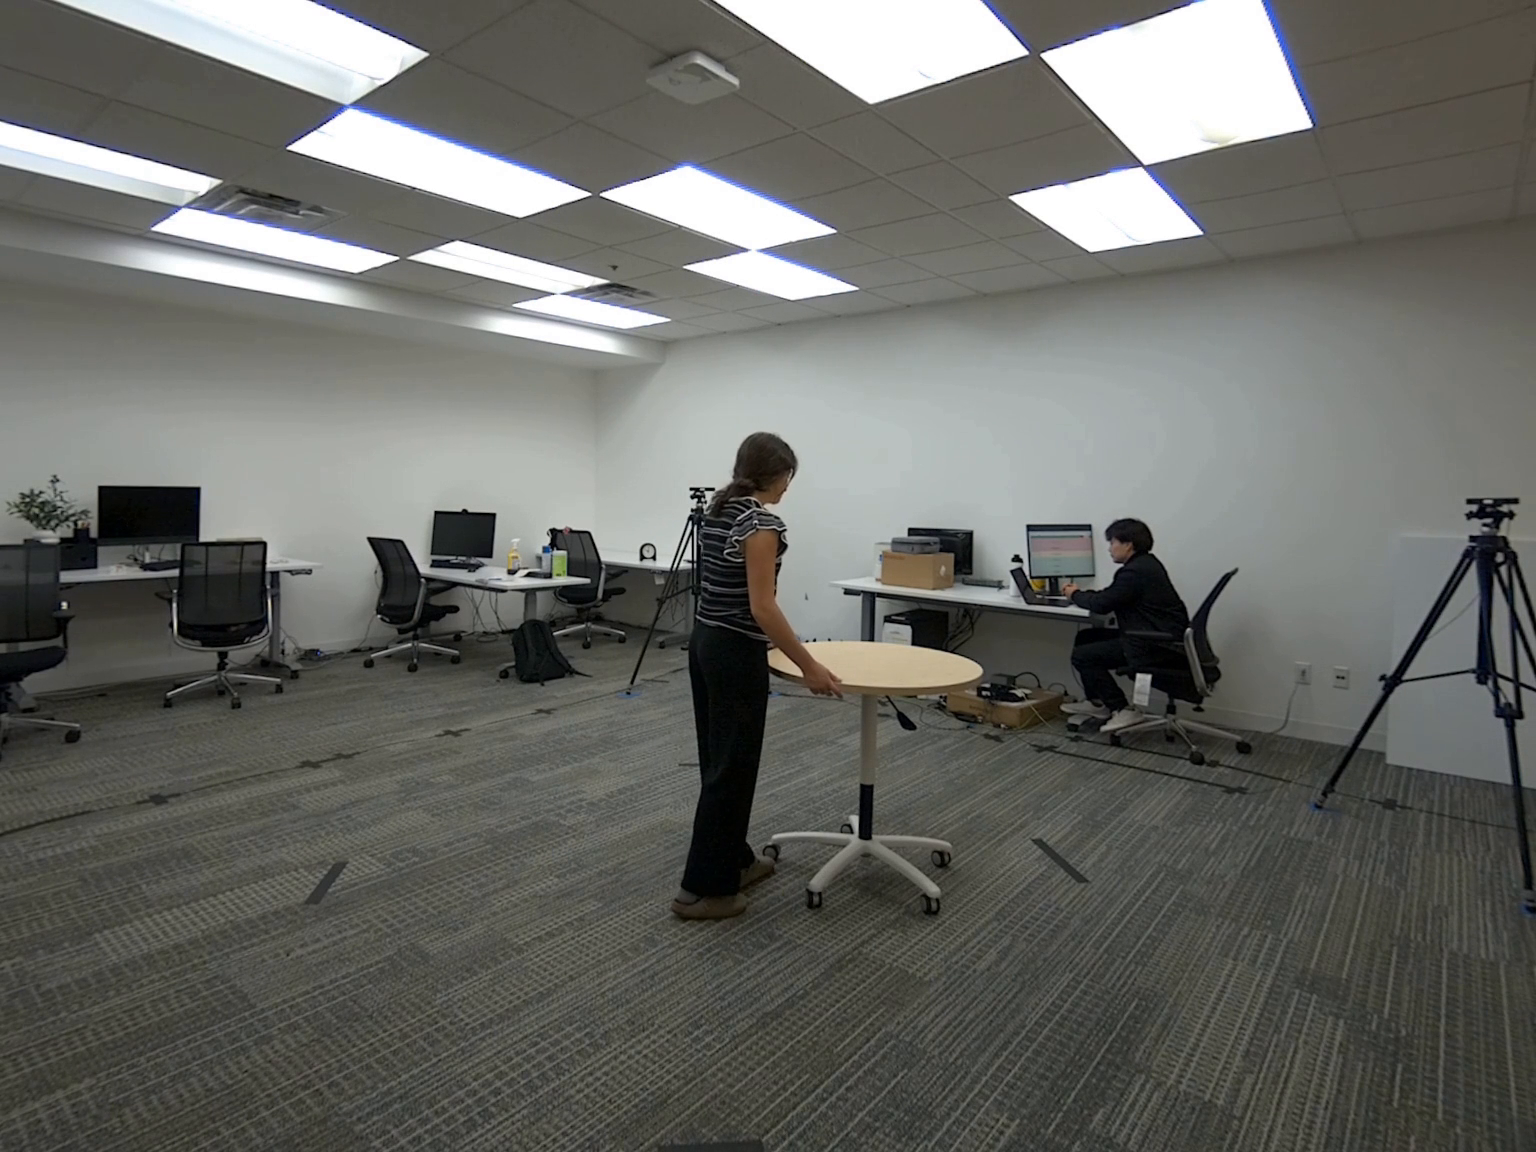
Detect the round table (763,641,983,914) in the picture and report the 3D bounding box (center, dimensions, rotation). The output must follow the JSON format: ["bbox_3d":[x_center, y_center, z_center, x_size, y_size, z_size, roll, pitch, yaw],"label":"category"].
[{"bbox_3d":[0.353,0.691,3.046,0.784,0.784,0.789,1,4,-2],"label":"round table"}]
